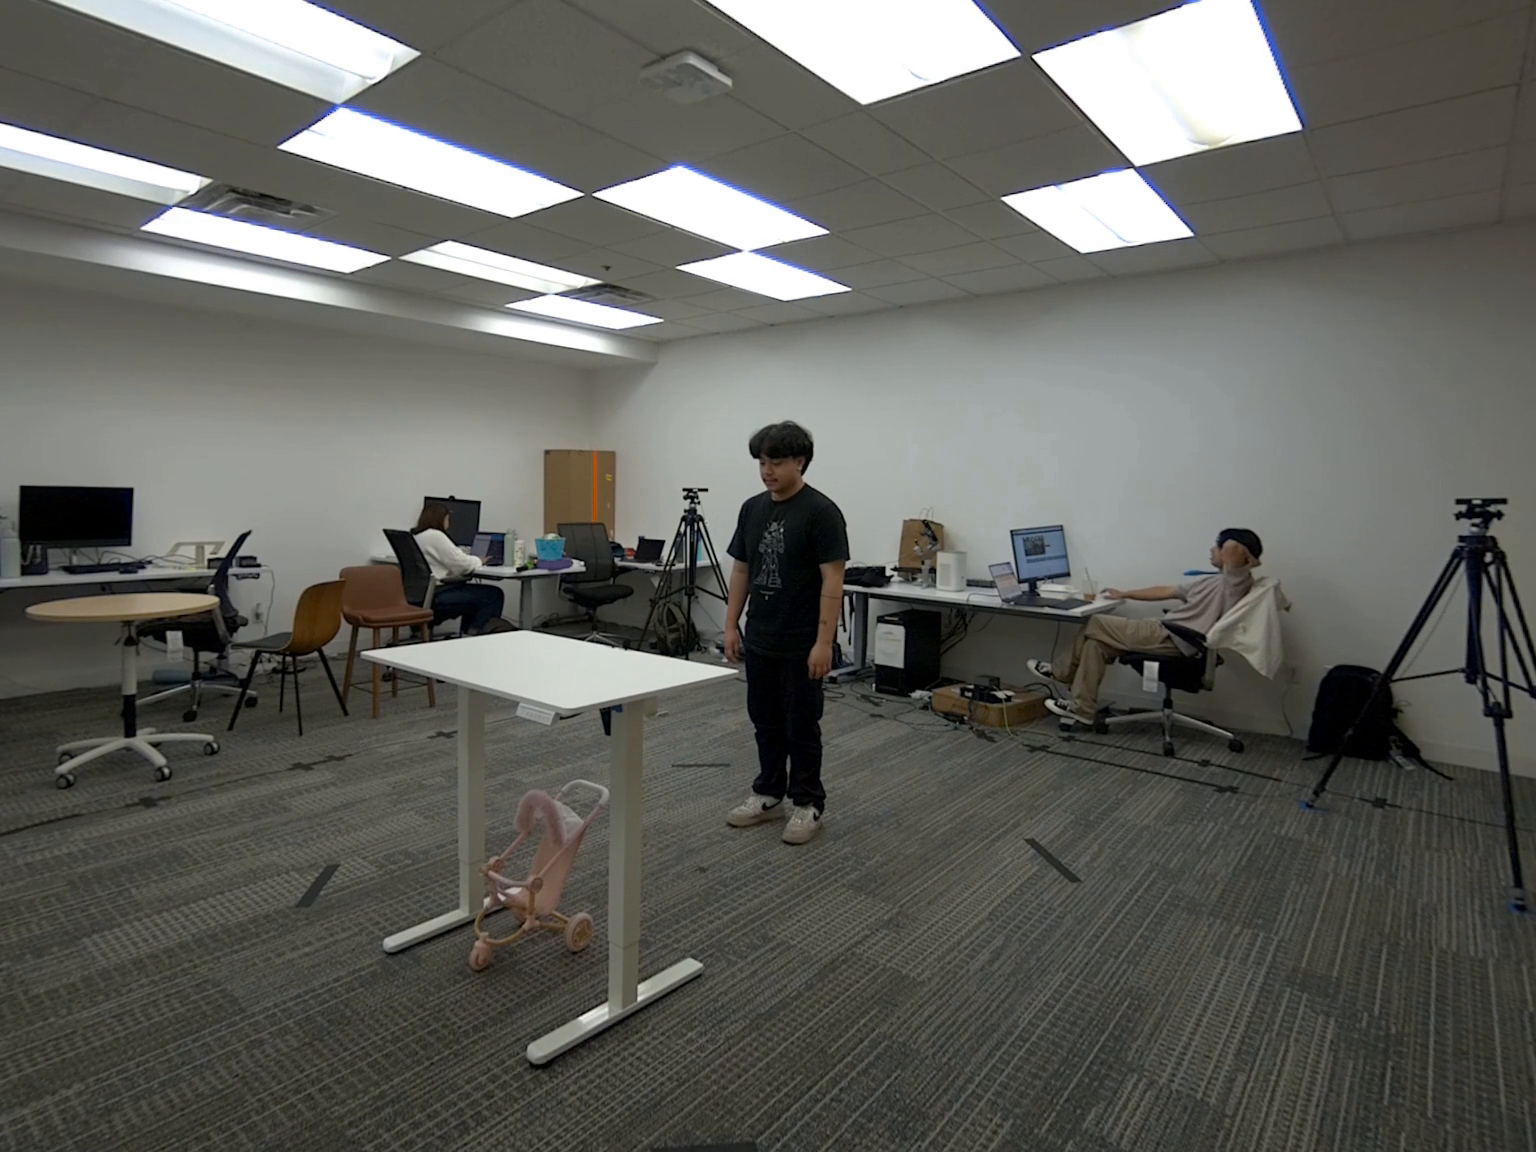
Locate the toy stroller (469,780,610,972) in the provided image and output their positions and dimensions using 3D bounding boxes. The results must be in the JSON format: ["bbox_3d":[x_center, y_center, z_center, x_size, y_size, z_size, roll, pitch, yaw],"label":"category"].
[{"bbox_3d":[-0.716,0.890,2.571,0.291,0.538,0.328,3,-11,43],"label":"toy stroller"}]
